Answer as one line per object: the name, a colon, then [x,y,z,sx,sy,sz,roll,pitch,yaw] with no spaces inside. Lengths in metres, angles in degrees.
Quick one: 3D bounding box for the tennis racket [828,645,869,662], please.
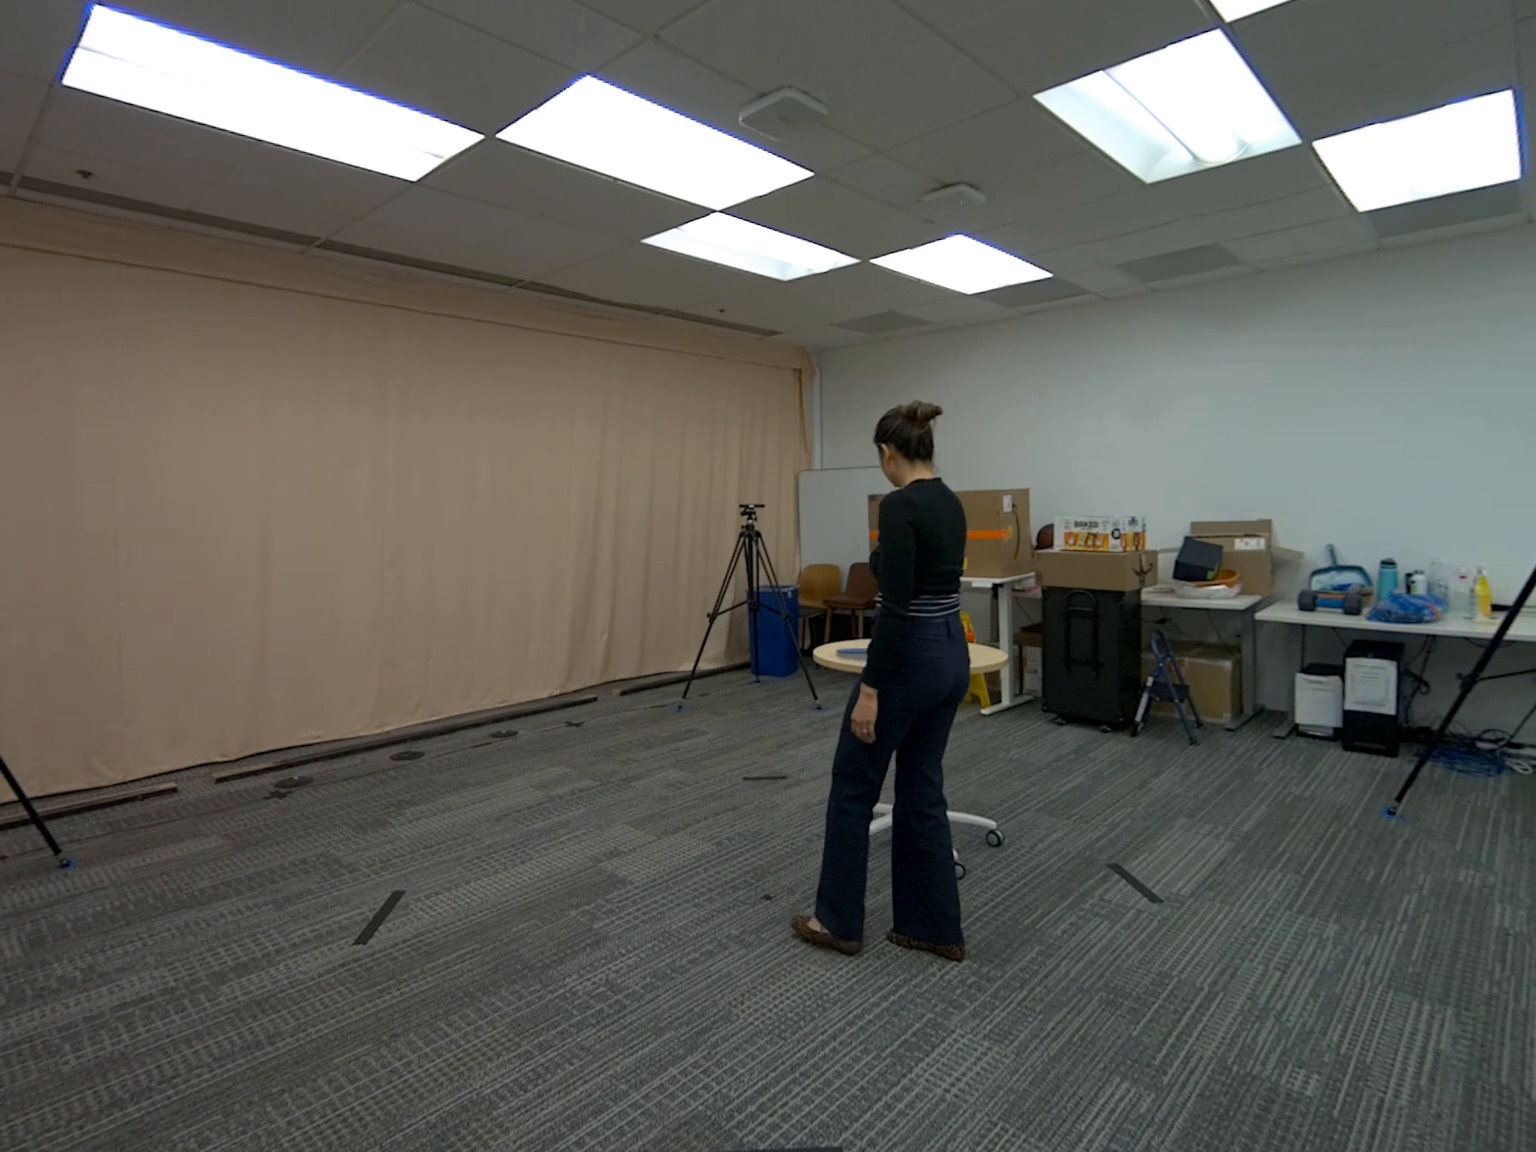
tennis racket: [0.413,0.296,3.258,0.210,0.032,0.439,-2,-1,-17]
